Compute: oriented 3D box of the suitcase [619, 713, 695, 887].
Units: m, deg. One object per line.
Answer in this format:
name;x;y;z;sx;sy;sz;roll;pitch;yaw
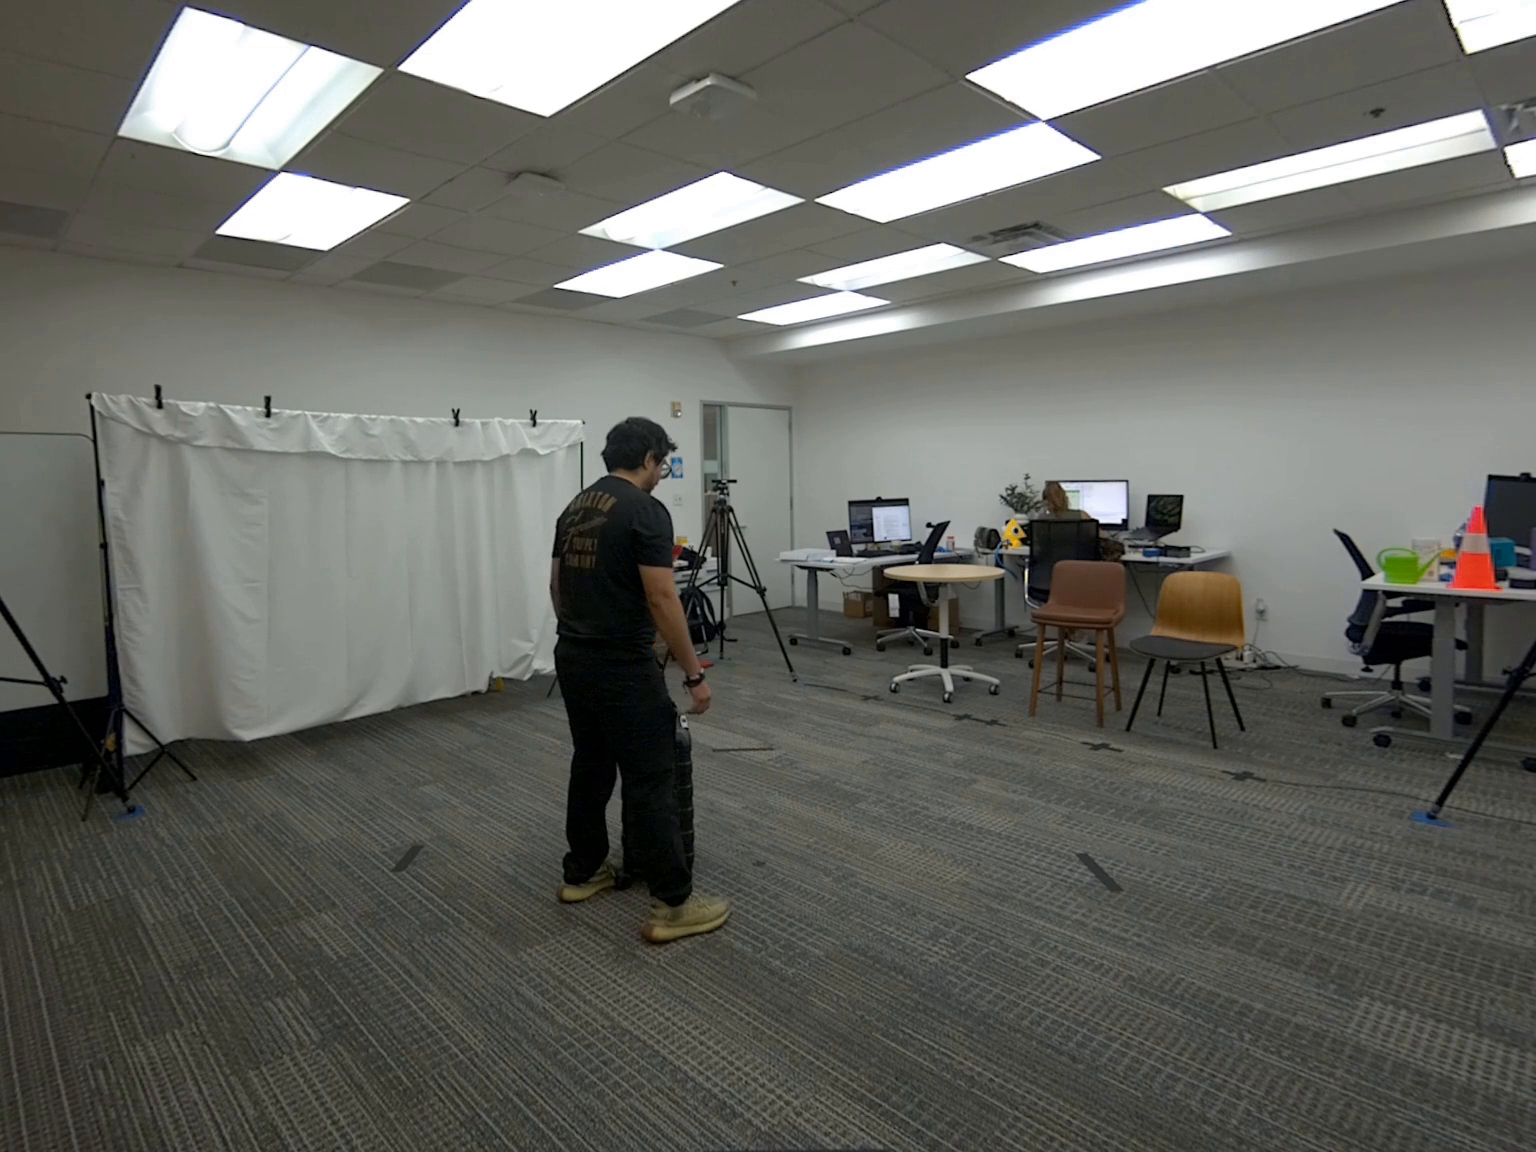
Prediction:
suitcase;-0.400;0.777;3.091;0.247;0.547;0.379;-2;4;-8
